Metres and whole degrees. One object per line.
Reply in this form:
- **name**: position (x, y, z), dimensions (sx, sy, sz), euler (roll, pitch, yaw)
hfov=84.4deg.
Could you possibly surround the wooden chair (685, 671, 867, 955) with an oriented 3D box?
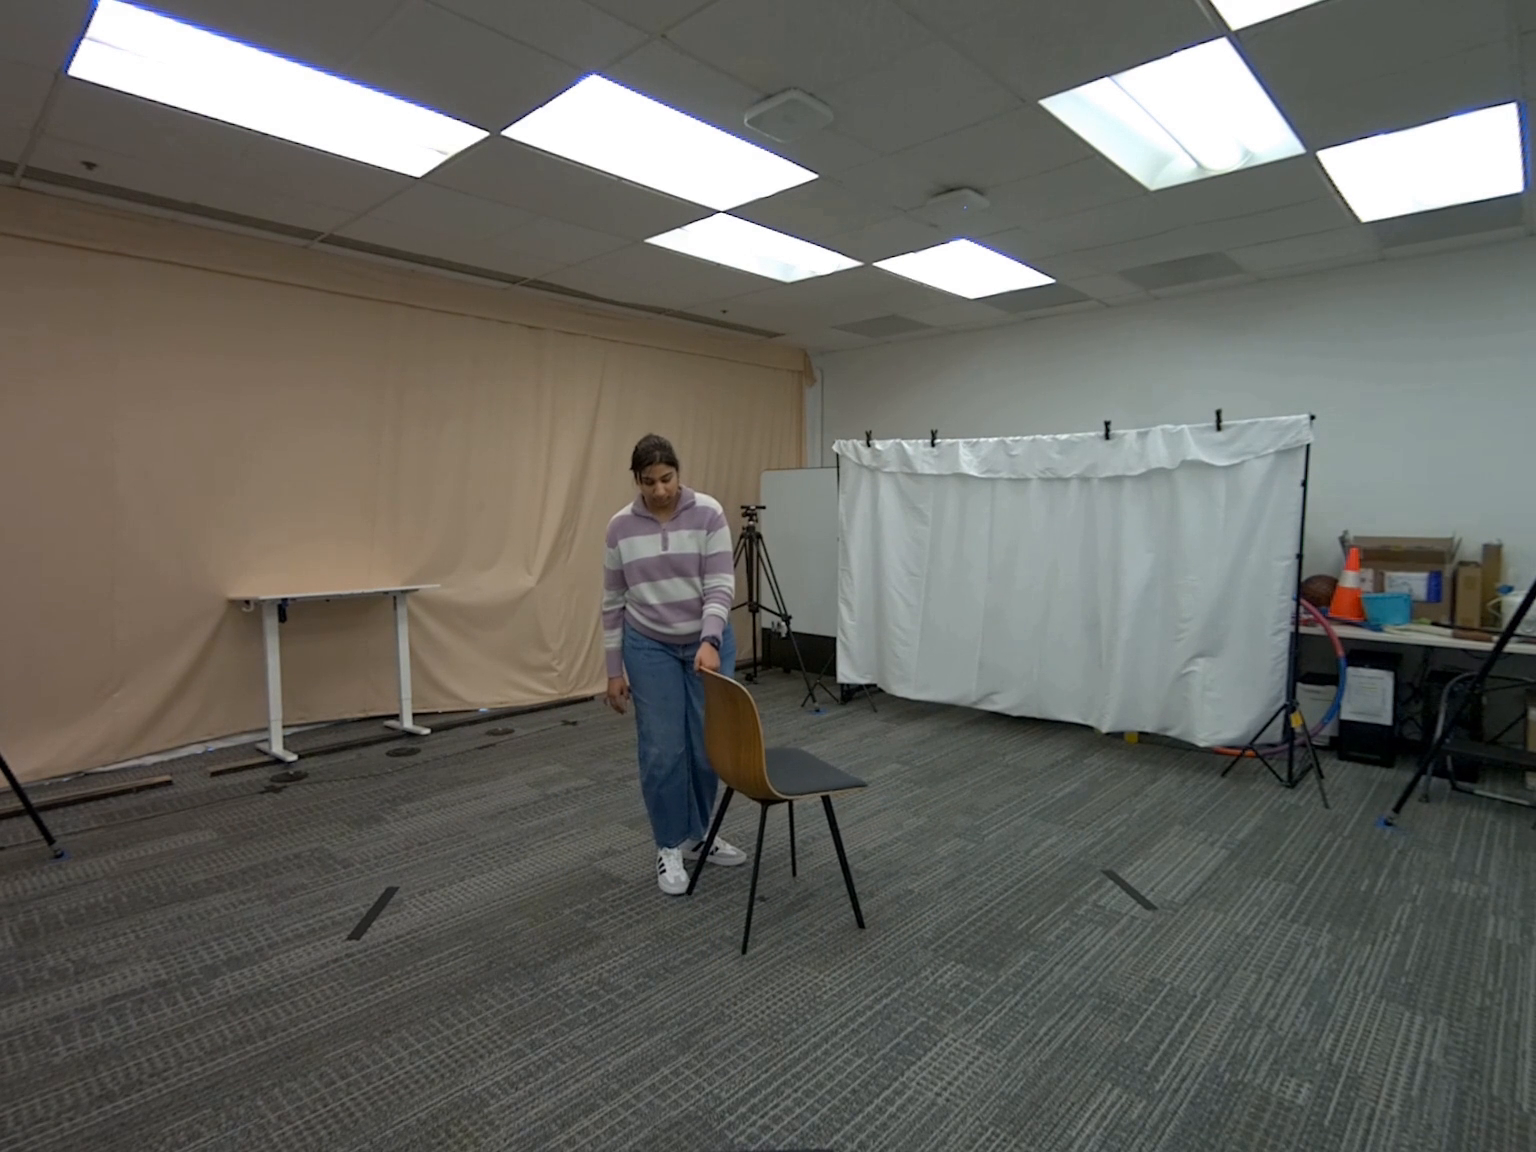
- **wooden chair**: position (0.045, 0.719, 2.857), dimensions (0.510, 0.875, 0.491), euler (-3, 4, -27)
